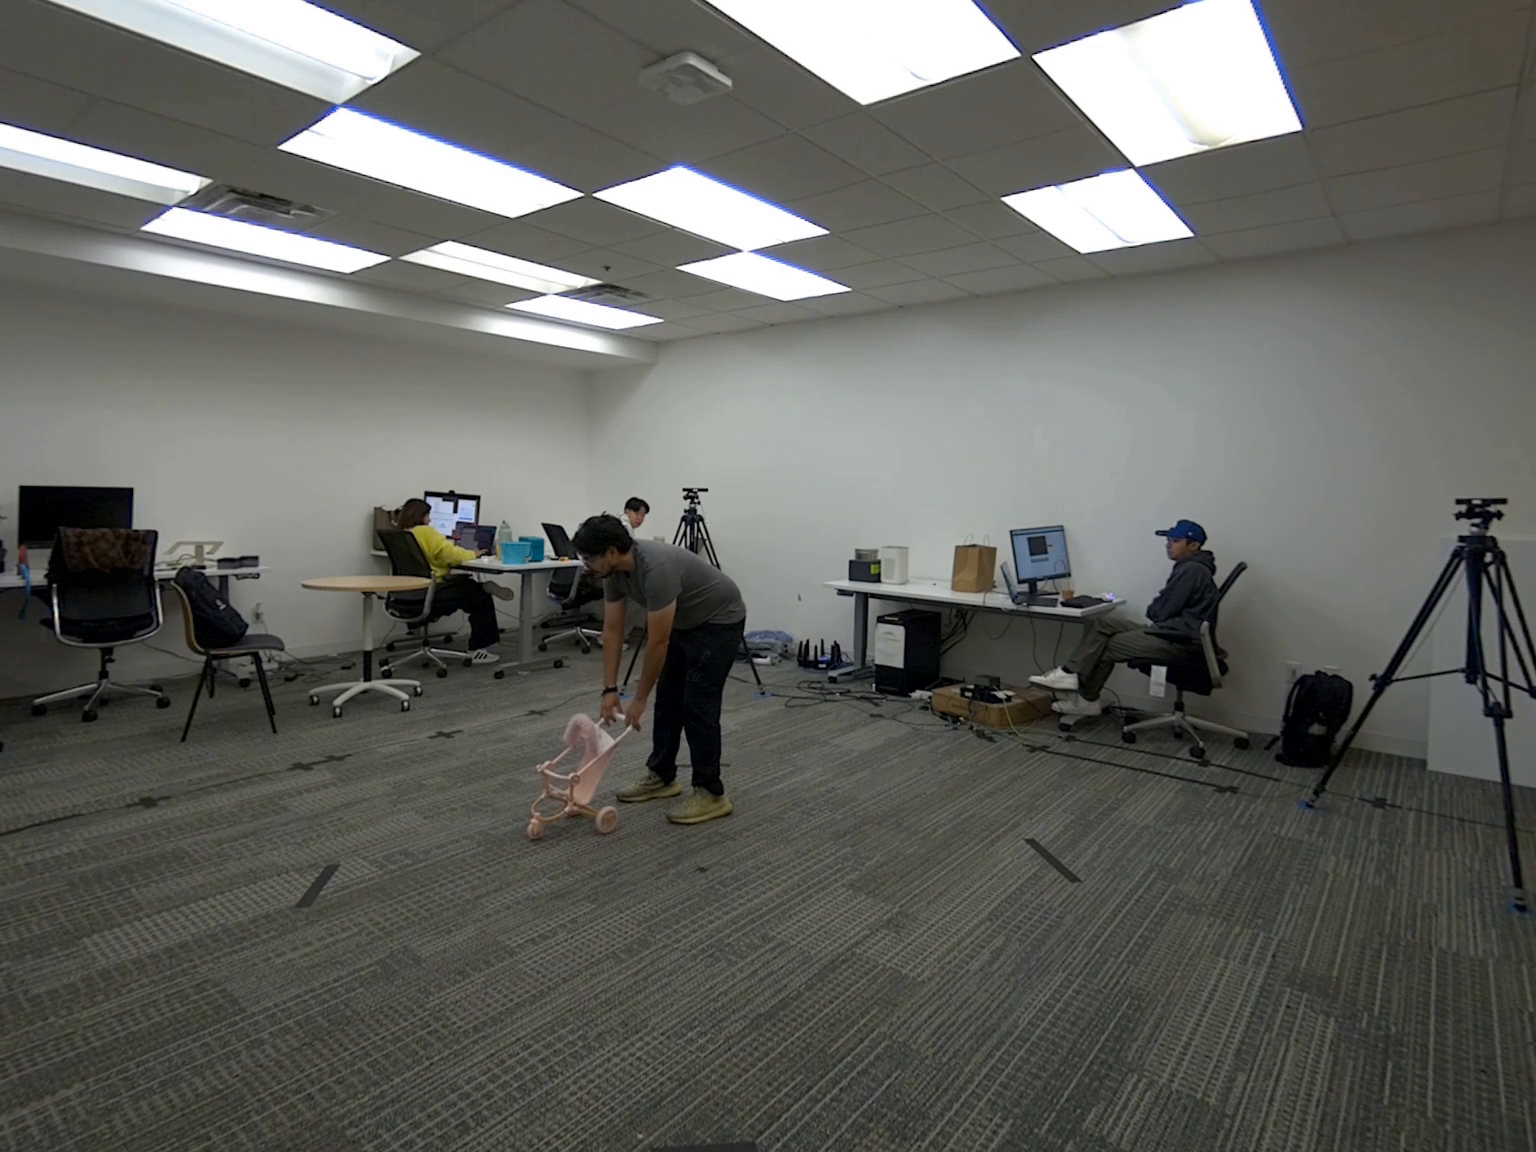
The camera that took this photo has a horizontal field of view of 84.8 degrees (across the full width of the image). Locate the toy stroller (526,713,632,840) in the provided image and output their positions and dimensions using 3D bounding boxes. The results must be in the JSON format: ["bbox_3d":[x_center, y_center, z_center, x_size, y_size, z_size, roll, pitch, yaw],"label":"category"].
[{"bbox_3d":[-0.788,0.801,3.467,0.328,0.538,0.291,20,-9,-39],"label":"toy stroller"}]
